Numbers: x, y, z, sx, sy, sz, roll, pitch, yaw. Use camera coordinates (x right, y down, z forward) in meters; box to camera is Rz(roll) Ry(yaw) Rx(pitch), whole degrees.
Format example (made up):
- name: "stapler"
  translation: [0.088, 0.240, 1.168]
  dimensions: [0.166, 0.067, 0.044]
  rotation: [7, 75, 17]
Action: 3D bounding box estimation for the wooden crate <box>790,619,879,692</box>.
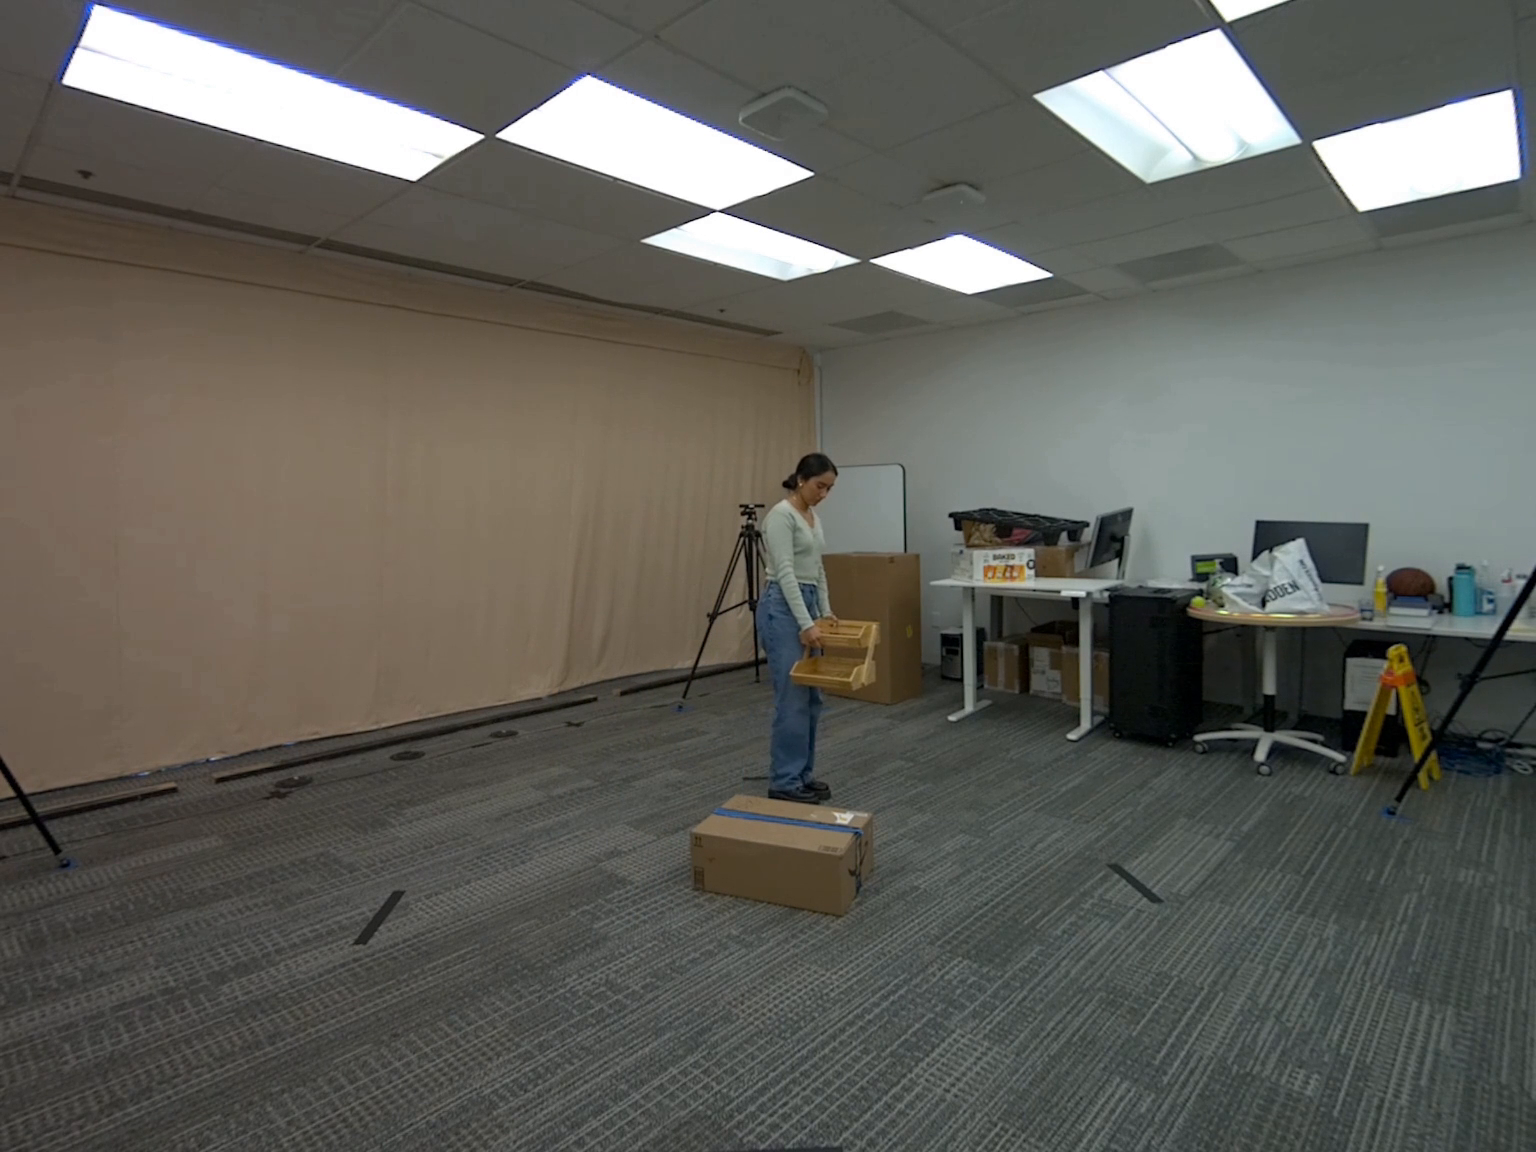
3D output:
- name: "wooden crate"
  translation: [0.309, 0.341, 3.765]
  dimensions: [0.334, 0.273, 0.294]
  rotation: [1, 3, 32]
